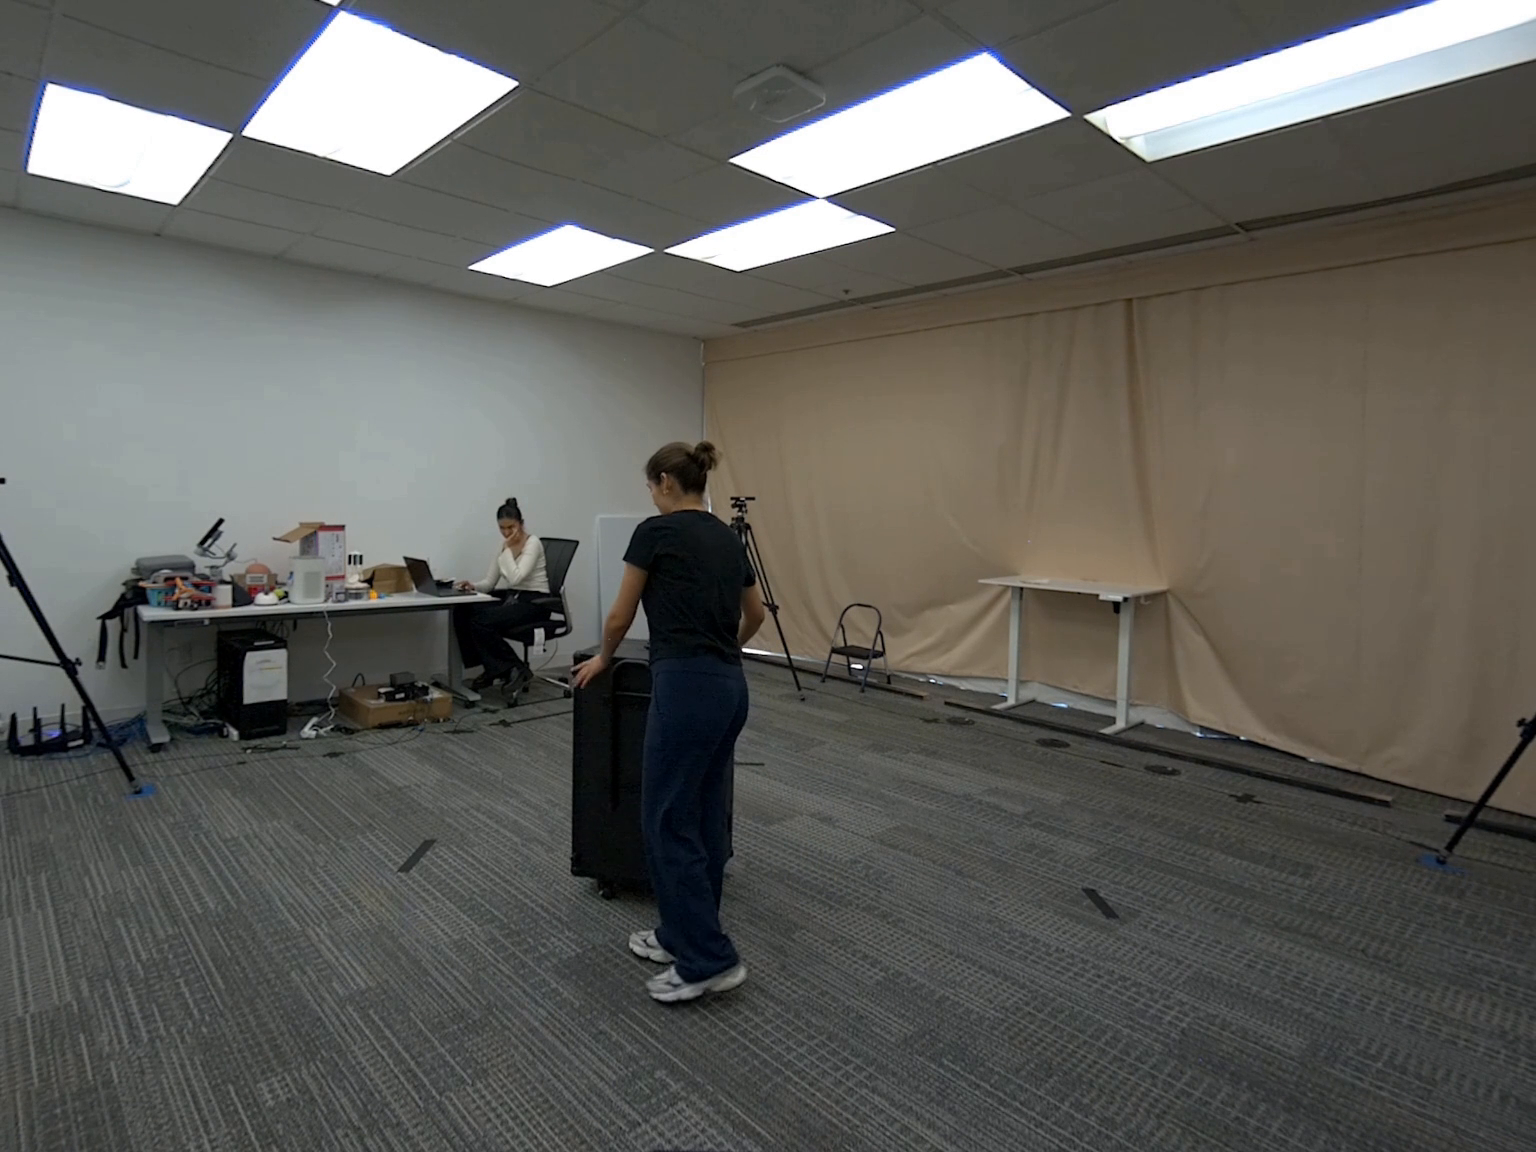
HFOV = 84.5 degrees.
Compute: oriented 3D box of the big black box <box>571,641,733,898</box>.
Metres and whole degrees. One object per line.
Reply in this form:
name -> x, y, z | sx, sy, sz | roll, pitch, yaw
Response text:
big black box -> -0.398, 0.689, 2.975 | 0.528, 0.859, 0.392 | 3, 4, 15
